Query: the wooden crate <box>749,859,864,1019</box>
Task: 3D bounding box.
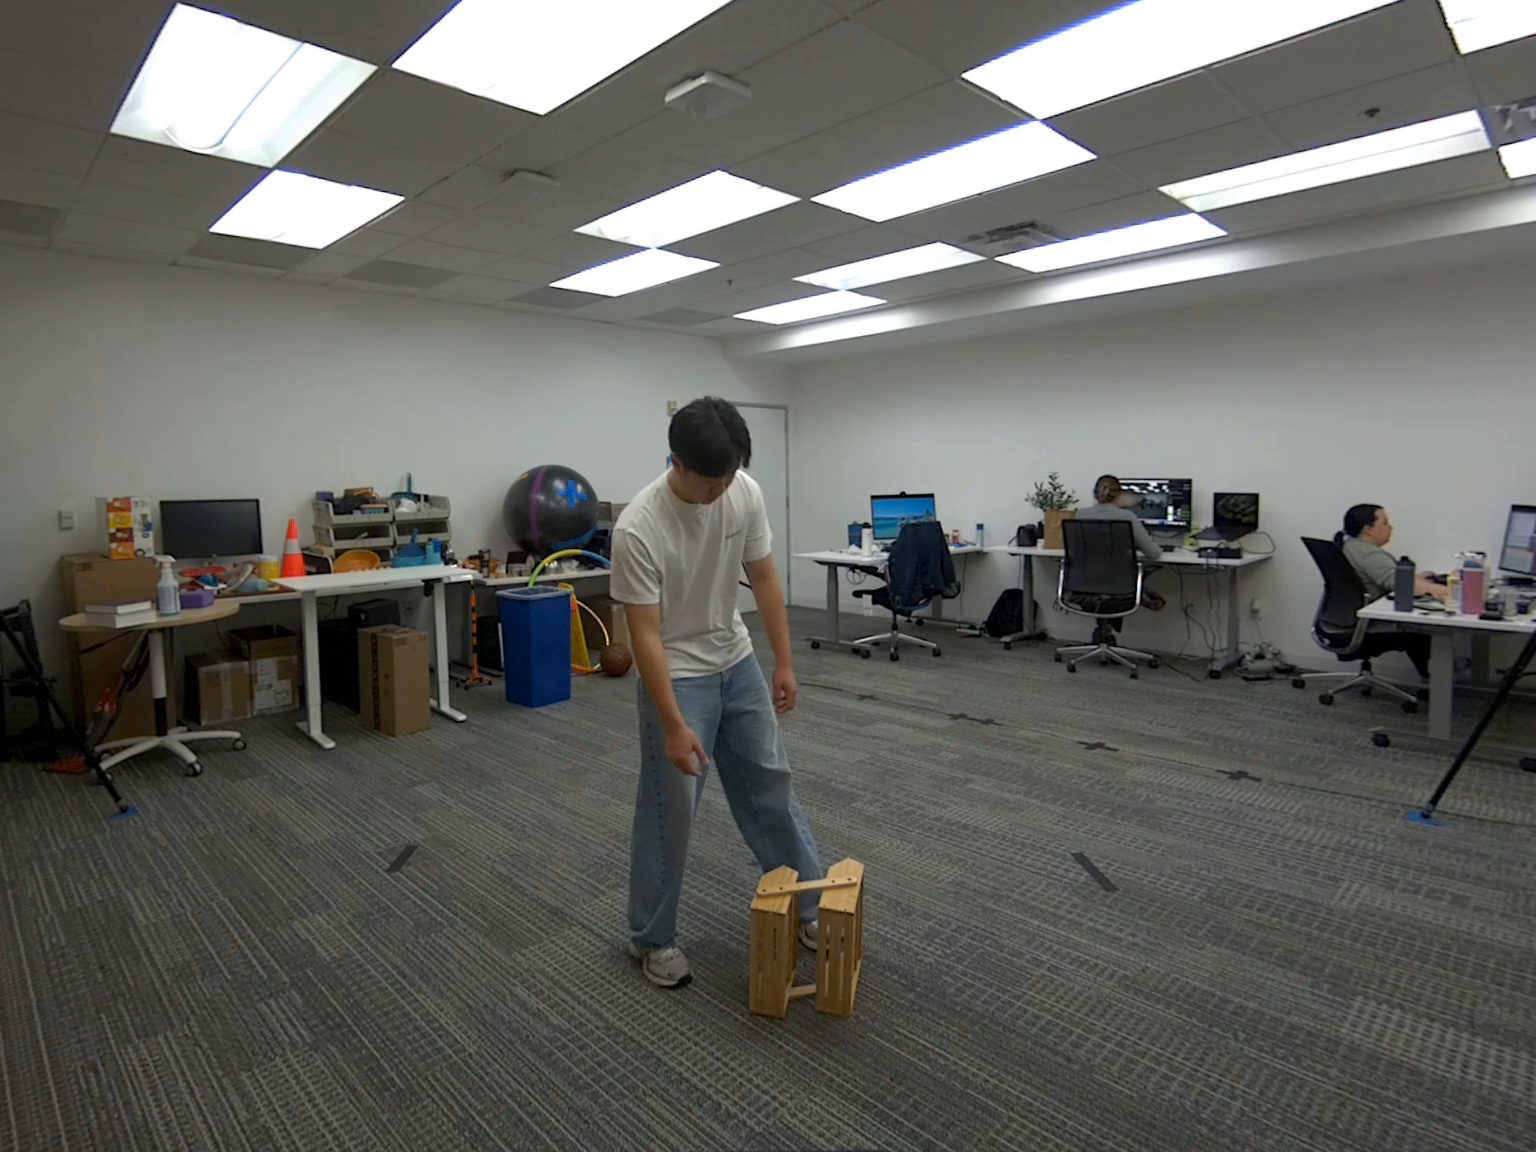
[{"bbox_3d":[0.106,0.966,2.315,0.277,0.321,0.300,3,11,14],"label":"wooden crate"}]
